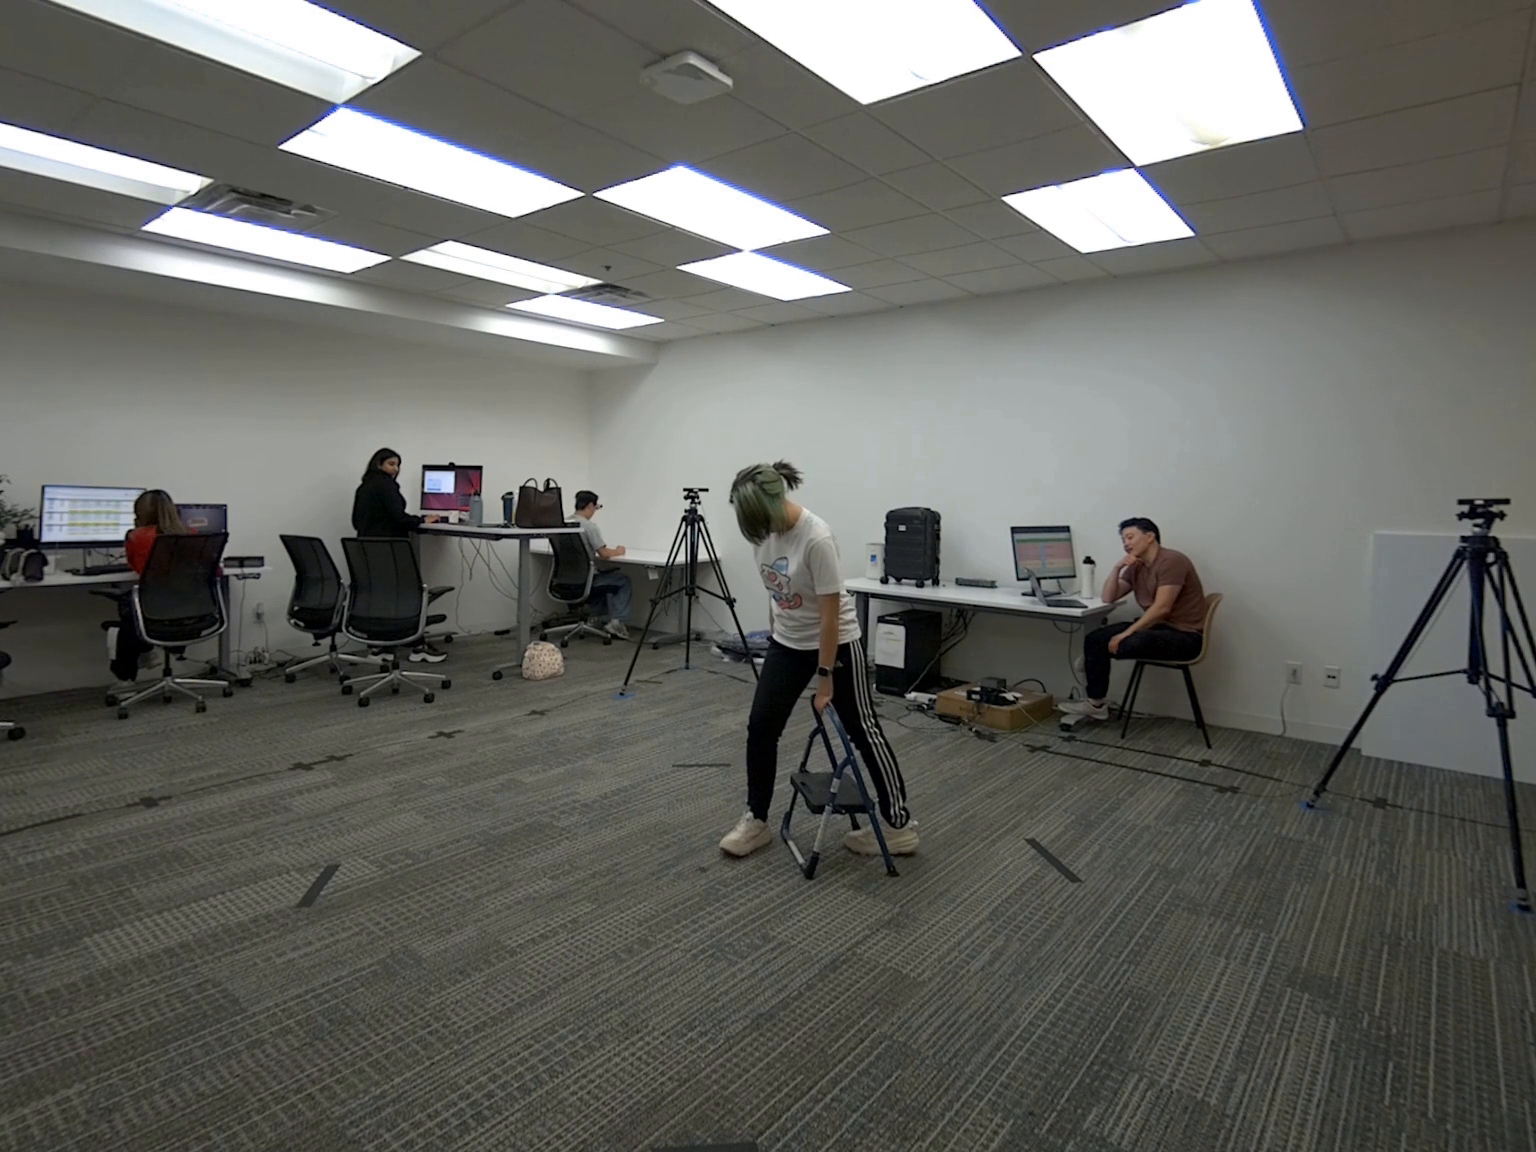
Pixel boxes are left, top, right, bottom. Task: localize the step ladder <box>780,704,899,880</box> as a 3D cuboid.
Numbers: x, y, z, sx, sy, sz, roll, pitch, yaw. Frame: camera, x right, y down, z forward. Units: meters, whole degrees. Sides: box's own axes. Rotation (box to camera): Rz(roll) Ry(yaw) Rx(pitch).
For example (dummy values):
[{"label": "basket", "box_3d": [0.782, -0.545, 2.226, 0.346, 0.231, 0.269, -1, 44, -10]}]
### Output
[{"label": "step ladder", "box_3d": [0.266, 0.767, 3.254, 0.345, 0.605, 0.437, 1, 3, -12]}]
